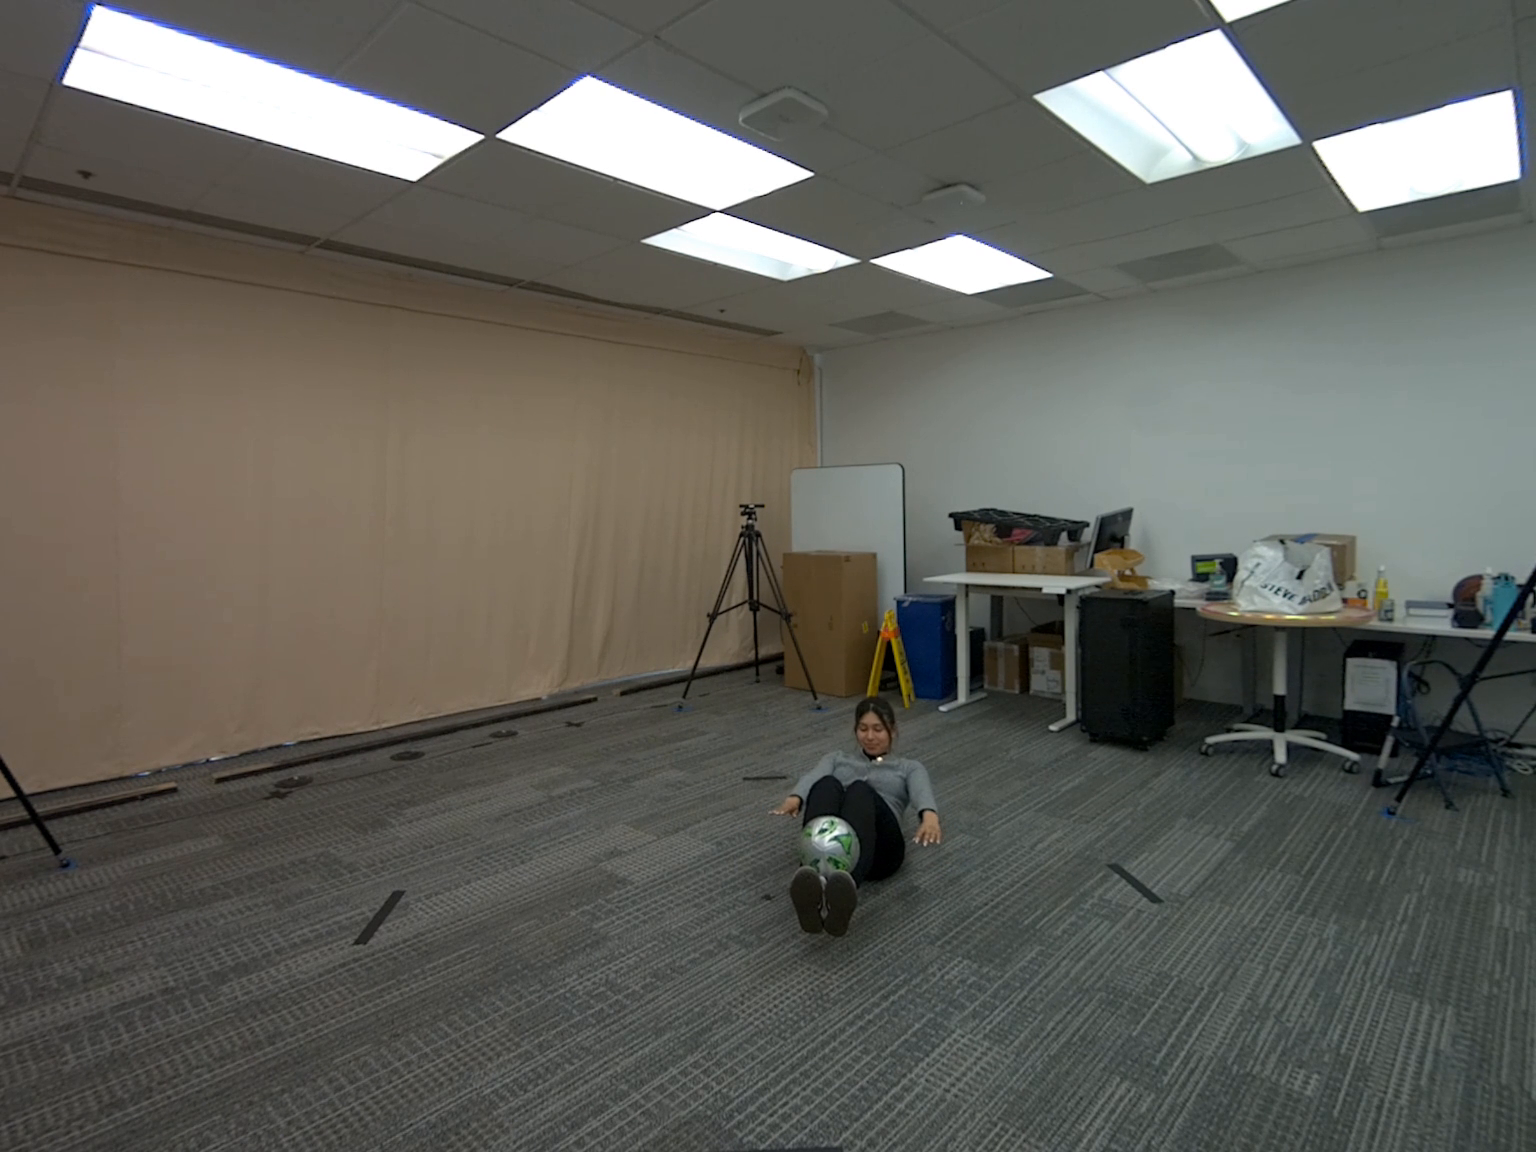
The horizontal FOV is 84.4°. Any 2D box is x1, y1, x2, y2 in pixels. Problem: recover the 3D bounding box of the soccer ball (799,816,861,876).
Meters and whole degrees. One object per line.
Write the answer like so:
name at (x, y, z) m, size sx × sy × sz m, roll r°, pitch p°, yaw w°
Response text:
soccer ball at (0.192, 0.835, 2.571) m, size 0.187 × 0.187 × 0.188 m, roll -1°, pitch 4°, yaw -2°
